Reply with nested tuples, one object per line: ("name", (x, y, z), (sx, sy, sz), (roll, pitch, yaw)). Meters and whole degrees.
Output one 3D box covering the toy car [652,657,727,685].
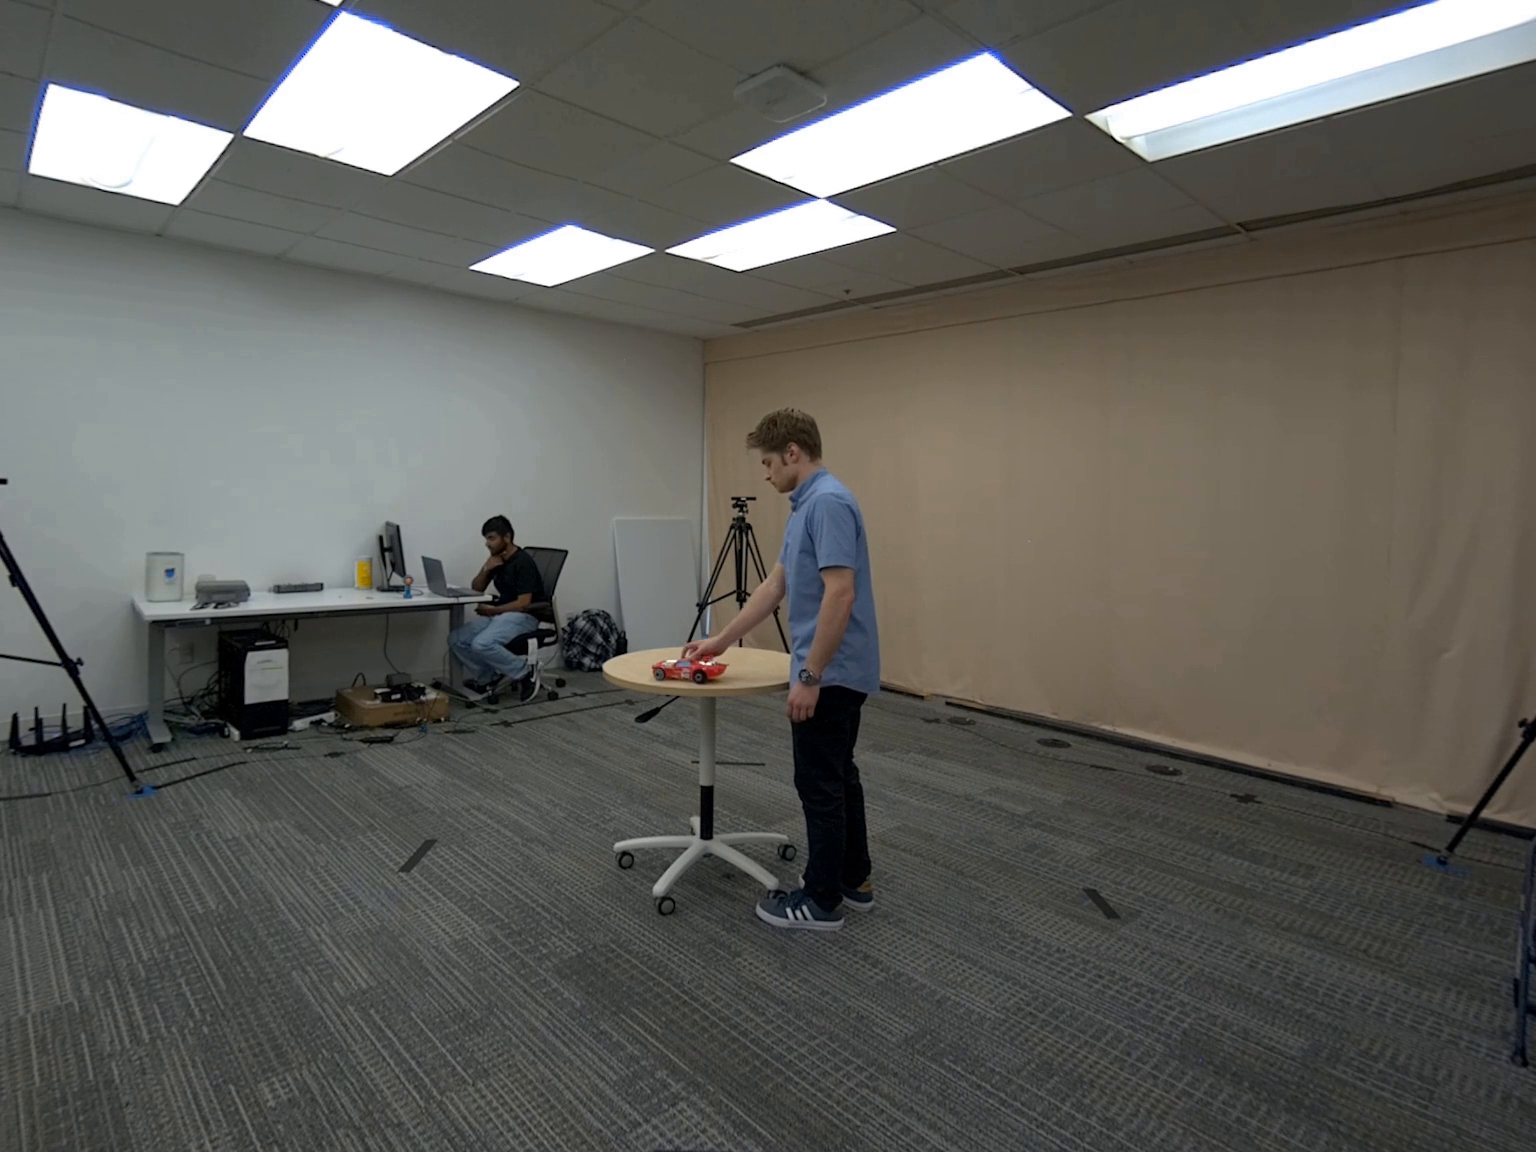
("toy car", (-0.258, 0.316, 2.818), (0.258, 0.083, 0.129), (-9, 1, 19))
